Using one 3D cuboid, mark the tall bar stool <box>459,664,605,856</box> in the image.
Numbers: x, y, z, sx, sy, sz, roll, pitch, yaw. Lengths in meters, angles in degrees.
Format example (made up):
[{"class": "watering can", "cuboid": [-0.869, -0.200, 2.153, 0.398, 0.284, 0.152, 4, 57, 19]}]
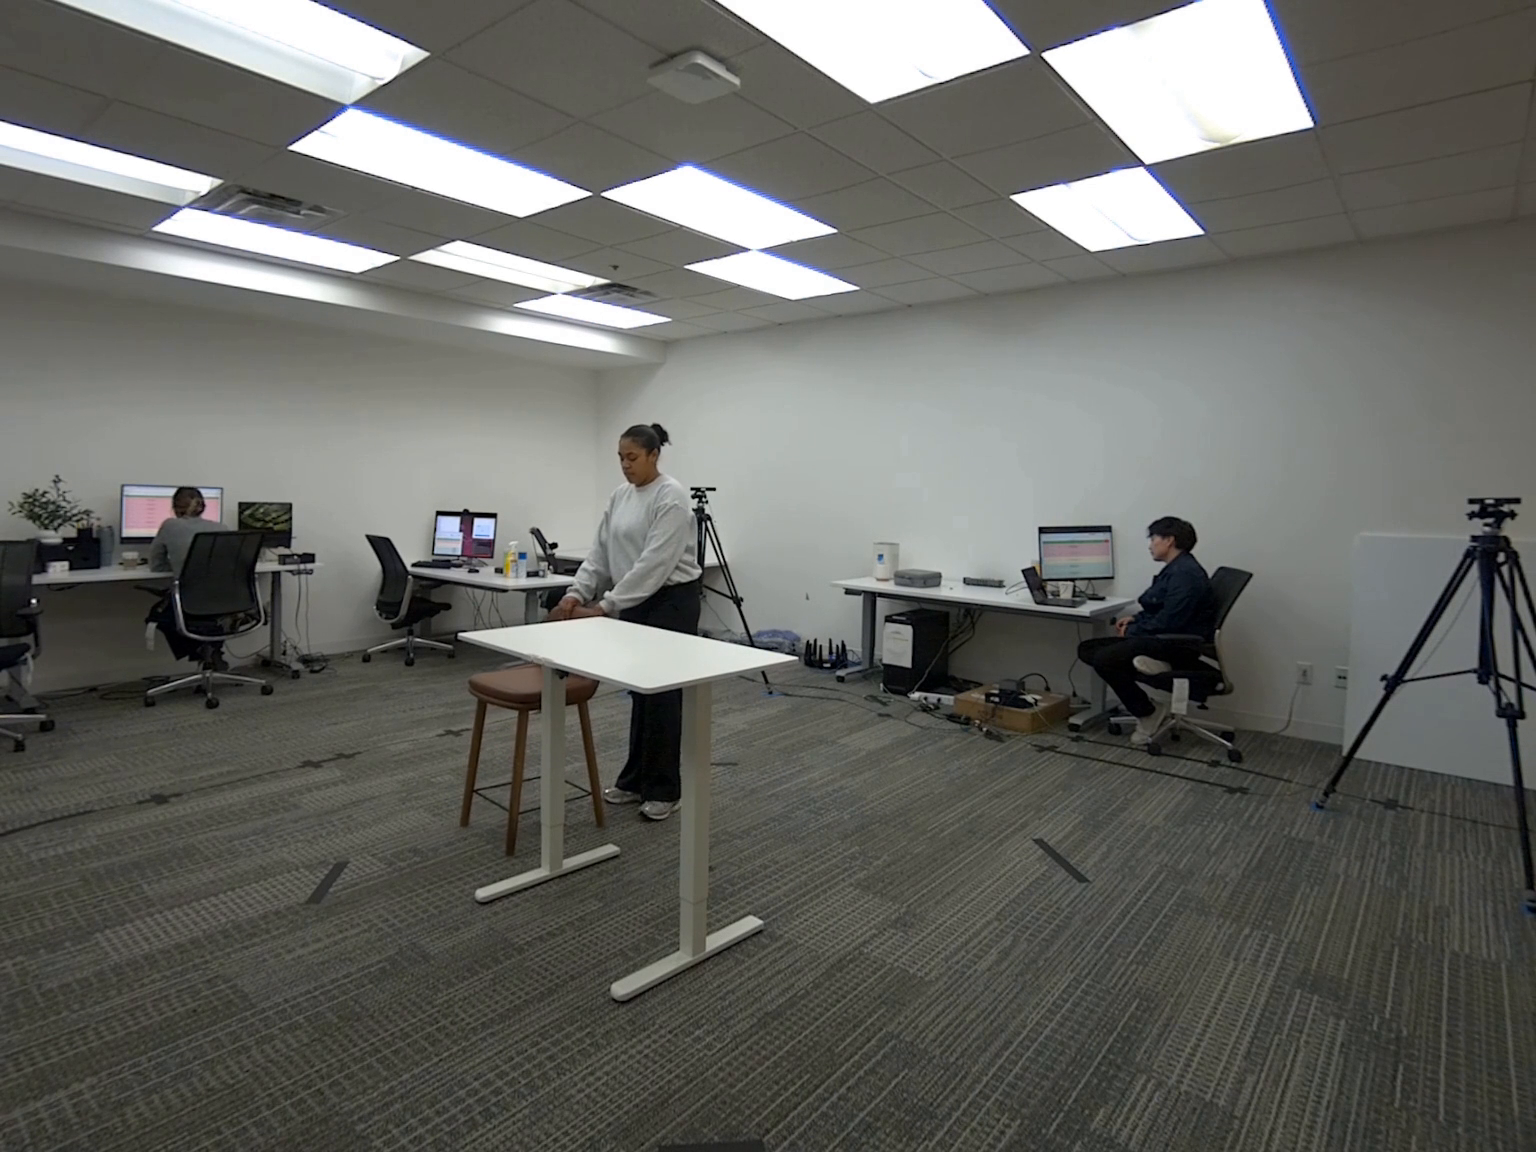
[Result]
[{"class": "tall bar stool", "cuboid": [-0.947, 0.583, 3.458, 0.452, 0.889, 0.472, 2, 1, -45]}]
